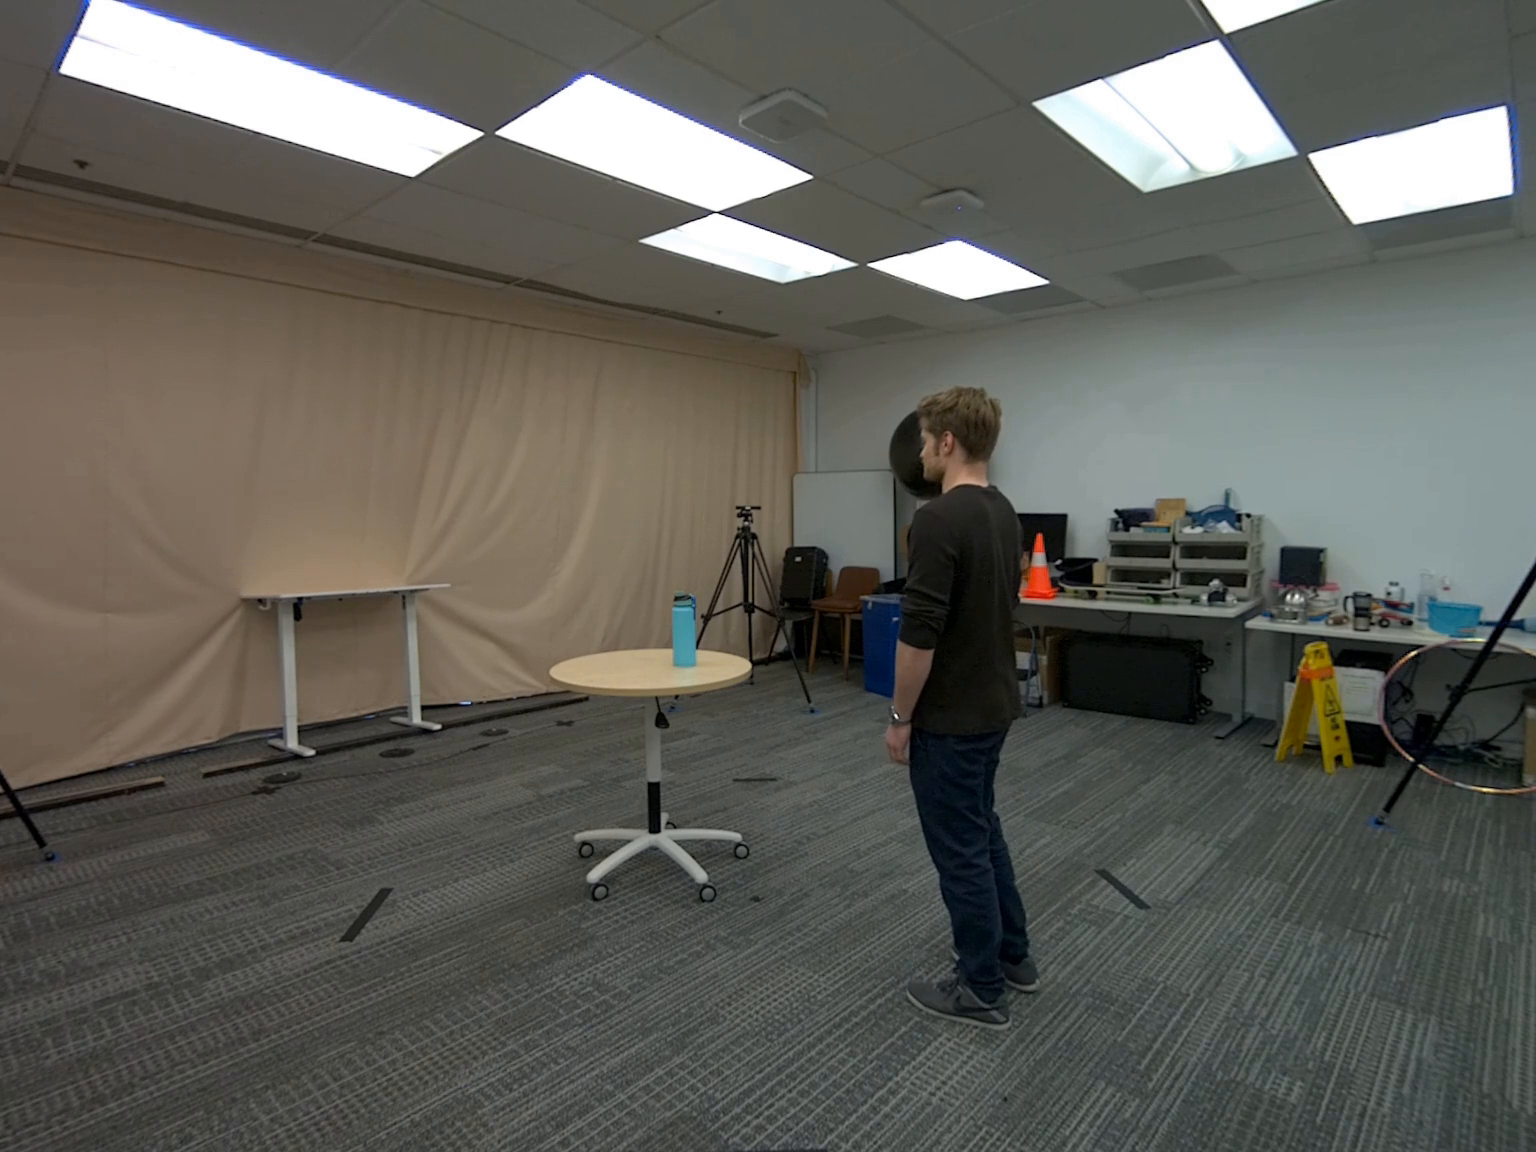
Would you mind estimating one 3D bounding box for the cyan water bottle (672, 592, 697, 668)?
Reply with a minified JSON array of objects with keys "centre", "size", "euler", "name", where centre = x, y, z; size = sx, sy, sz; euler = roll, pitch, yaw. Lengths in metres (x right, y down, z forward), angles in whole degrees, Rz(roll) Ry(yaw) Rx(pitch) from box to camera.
[{"centre":[-0.318,0.204,3.229],"size":[0.092,0.283,0.092],"euler":[2,2,-2],"name":"cyan water bottle"}]
